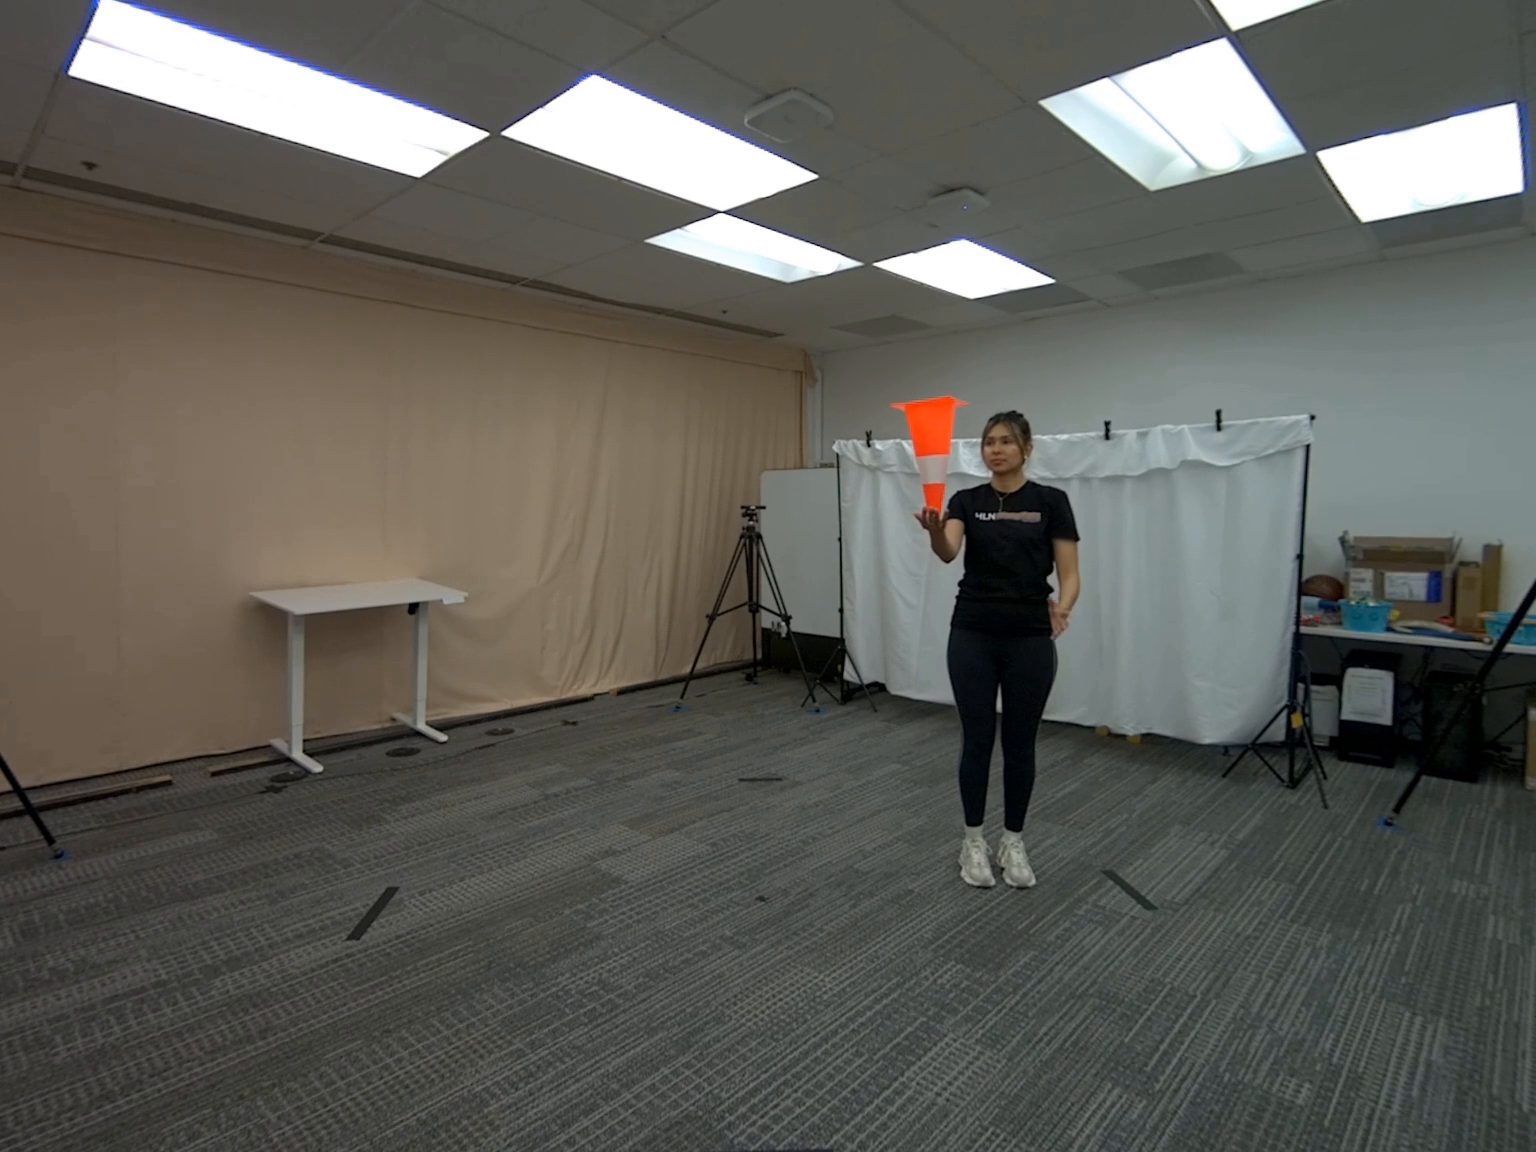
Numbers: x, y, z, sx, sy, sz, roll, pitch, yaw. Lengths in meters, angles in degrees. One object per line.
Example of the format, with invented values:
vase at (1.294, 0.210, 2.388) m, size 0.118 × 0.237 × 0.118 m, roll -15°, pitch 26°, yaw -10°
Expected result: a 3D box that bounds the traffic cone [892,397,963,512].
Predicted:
traffic cone at (0.539, -0.363, 2.698) m, size 0.209 × 0.384 × 0.199 m, roll -2°, pitch 0°, yaw 32°
